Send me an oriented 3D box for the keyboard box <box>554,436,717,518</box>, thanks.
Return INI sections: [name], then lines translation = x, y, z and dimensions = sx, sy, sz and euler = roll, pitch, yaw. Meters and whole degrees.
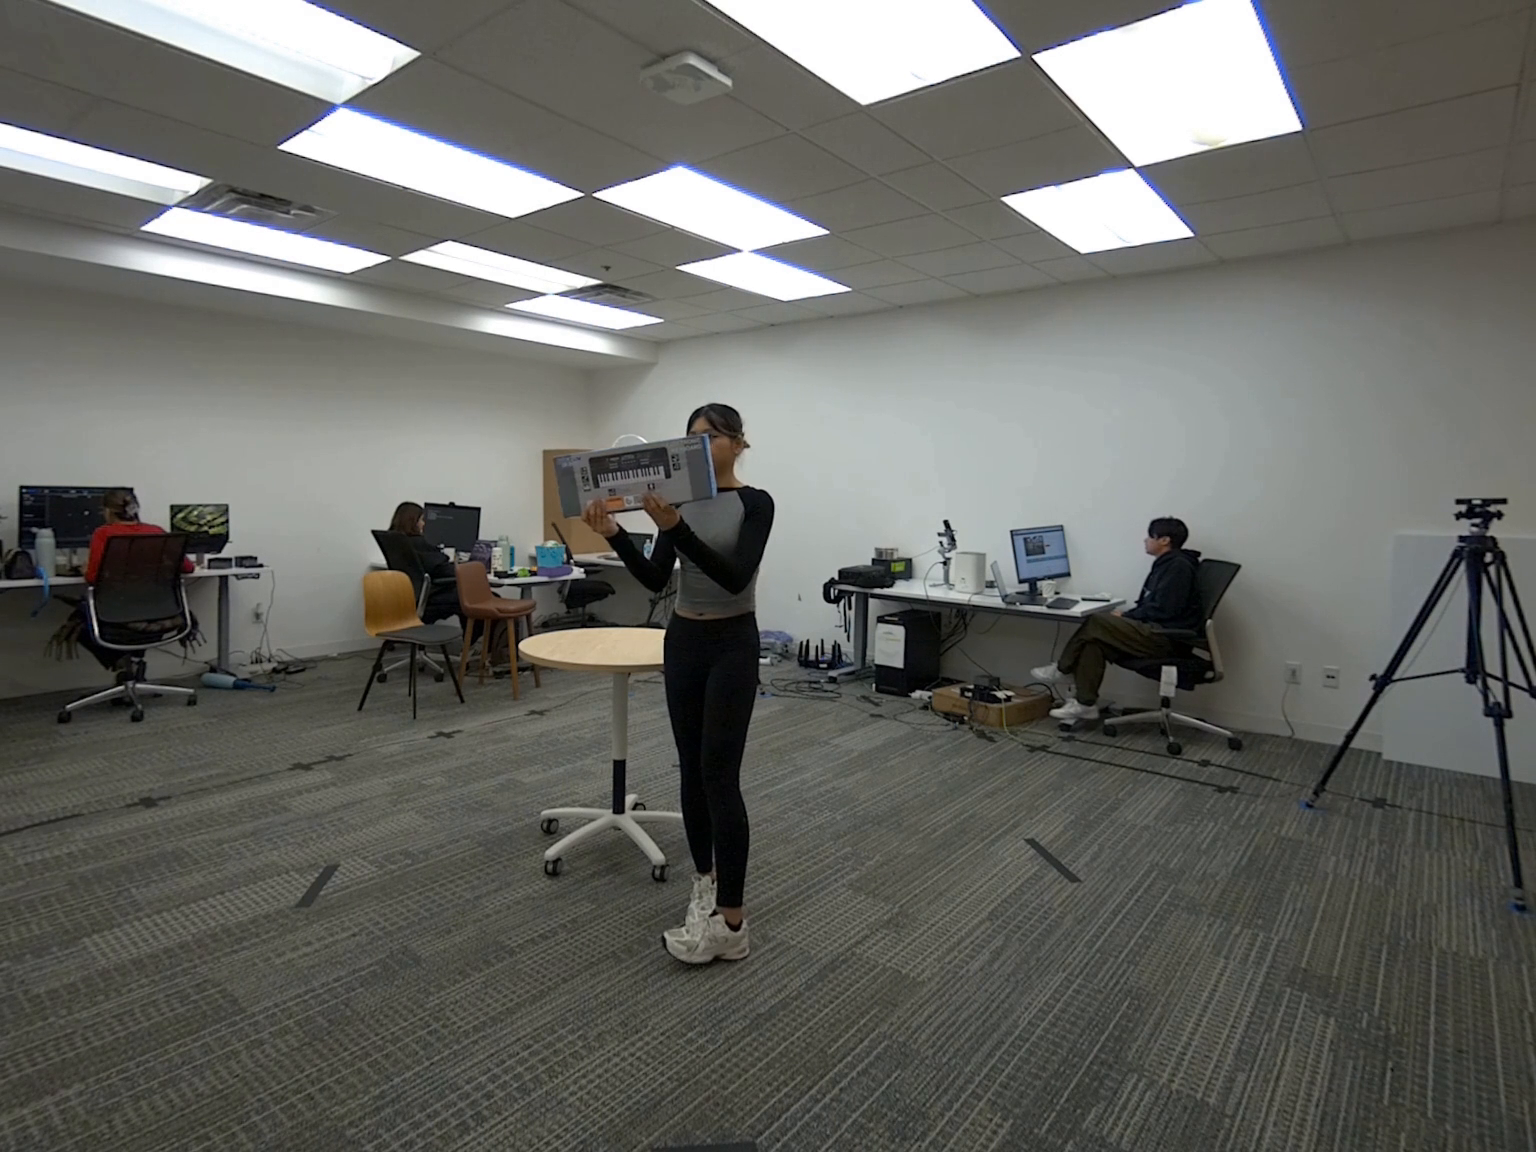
[keyboard box]
translation = -0.377, -0.276, 2.337
dimensions = 0.443, 0.174, 0.059
euler = -6, 8, 14
